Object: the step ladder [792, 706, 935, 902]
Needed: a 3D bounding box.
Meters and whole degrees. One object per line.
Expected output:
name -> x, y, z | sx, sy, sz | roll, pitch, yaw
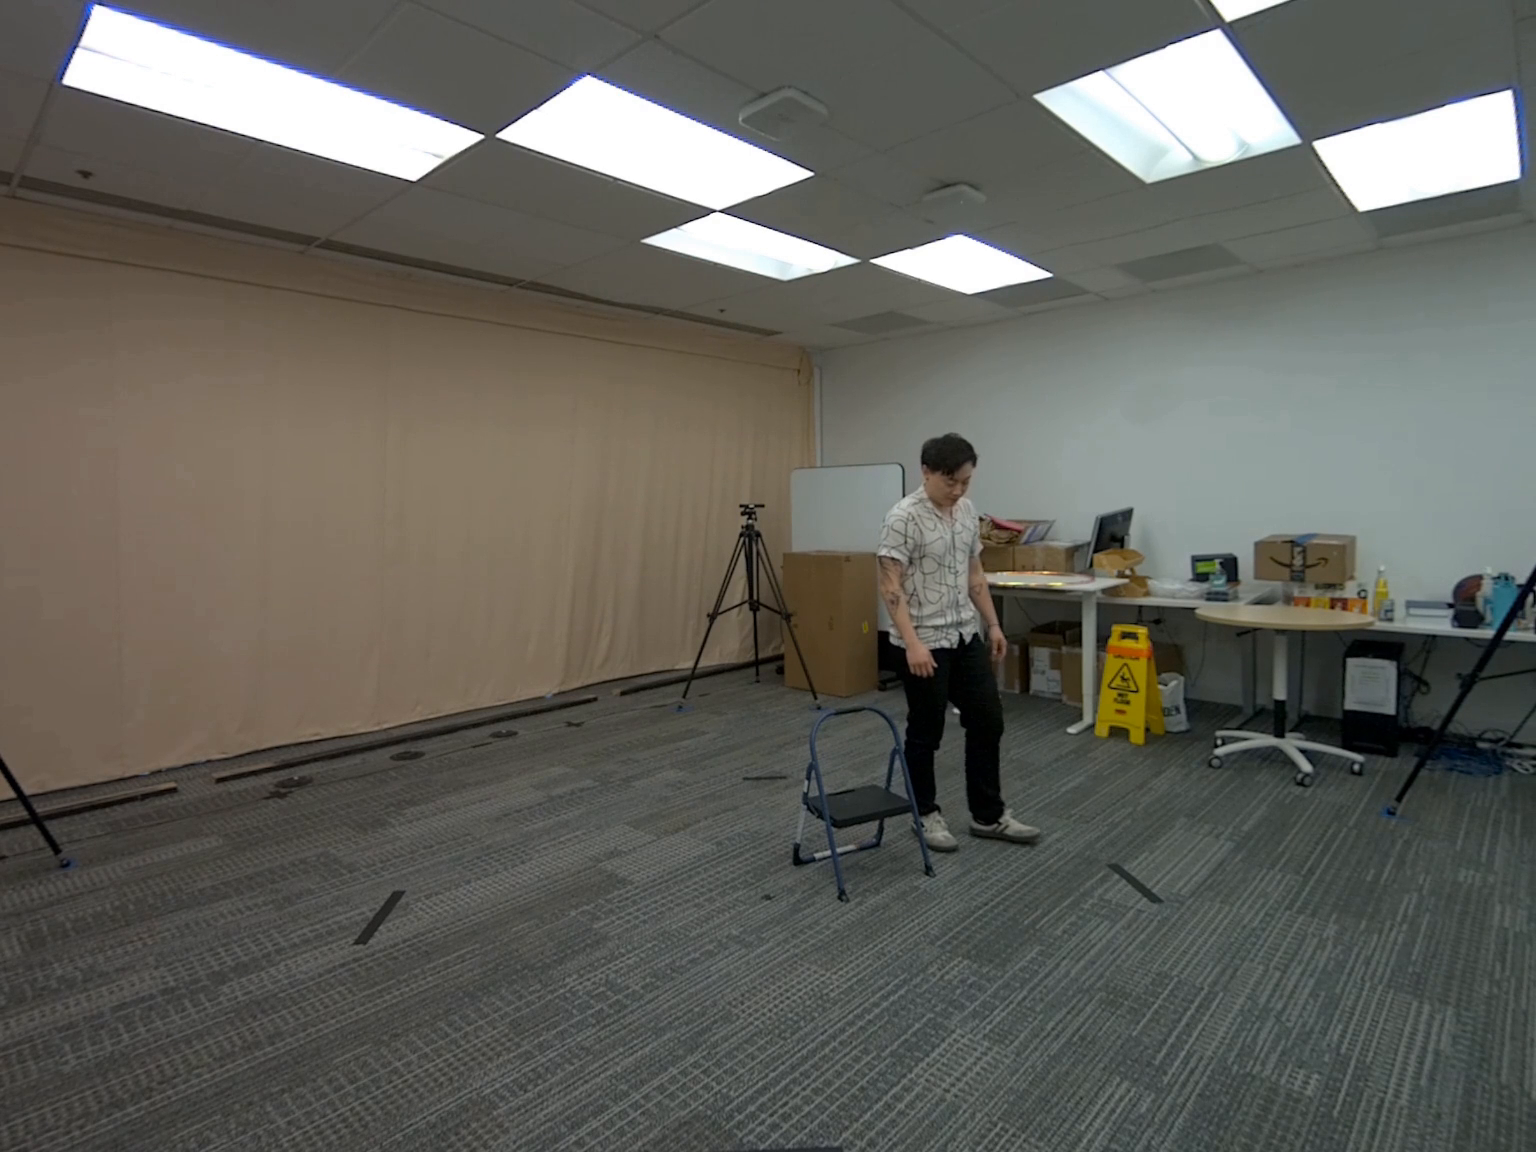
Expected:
step ladder -> 0.357, 0.812, 3.172 | 0.419, 0.605, 0.359 | -3, 4, -29
